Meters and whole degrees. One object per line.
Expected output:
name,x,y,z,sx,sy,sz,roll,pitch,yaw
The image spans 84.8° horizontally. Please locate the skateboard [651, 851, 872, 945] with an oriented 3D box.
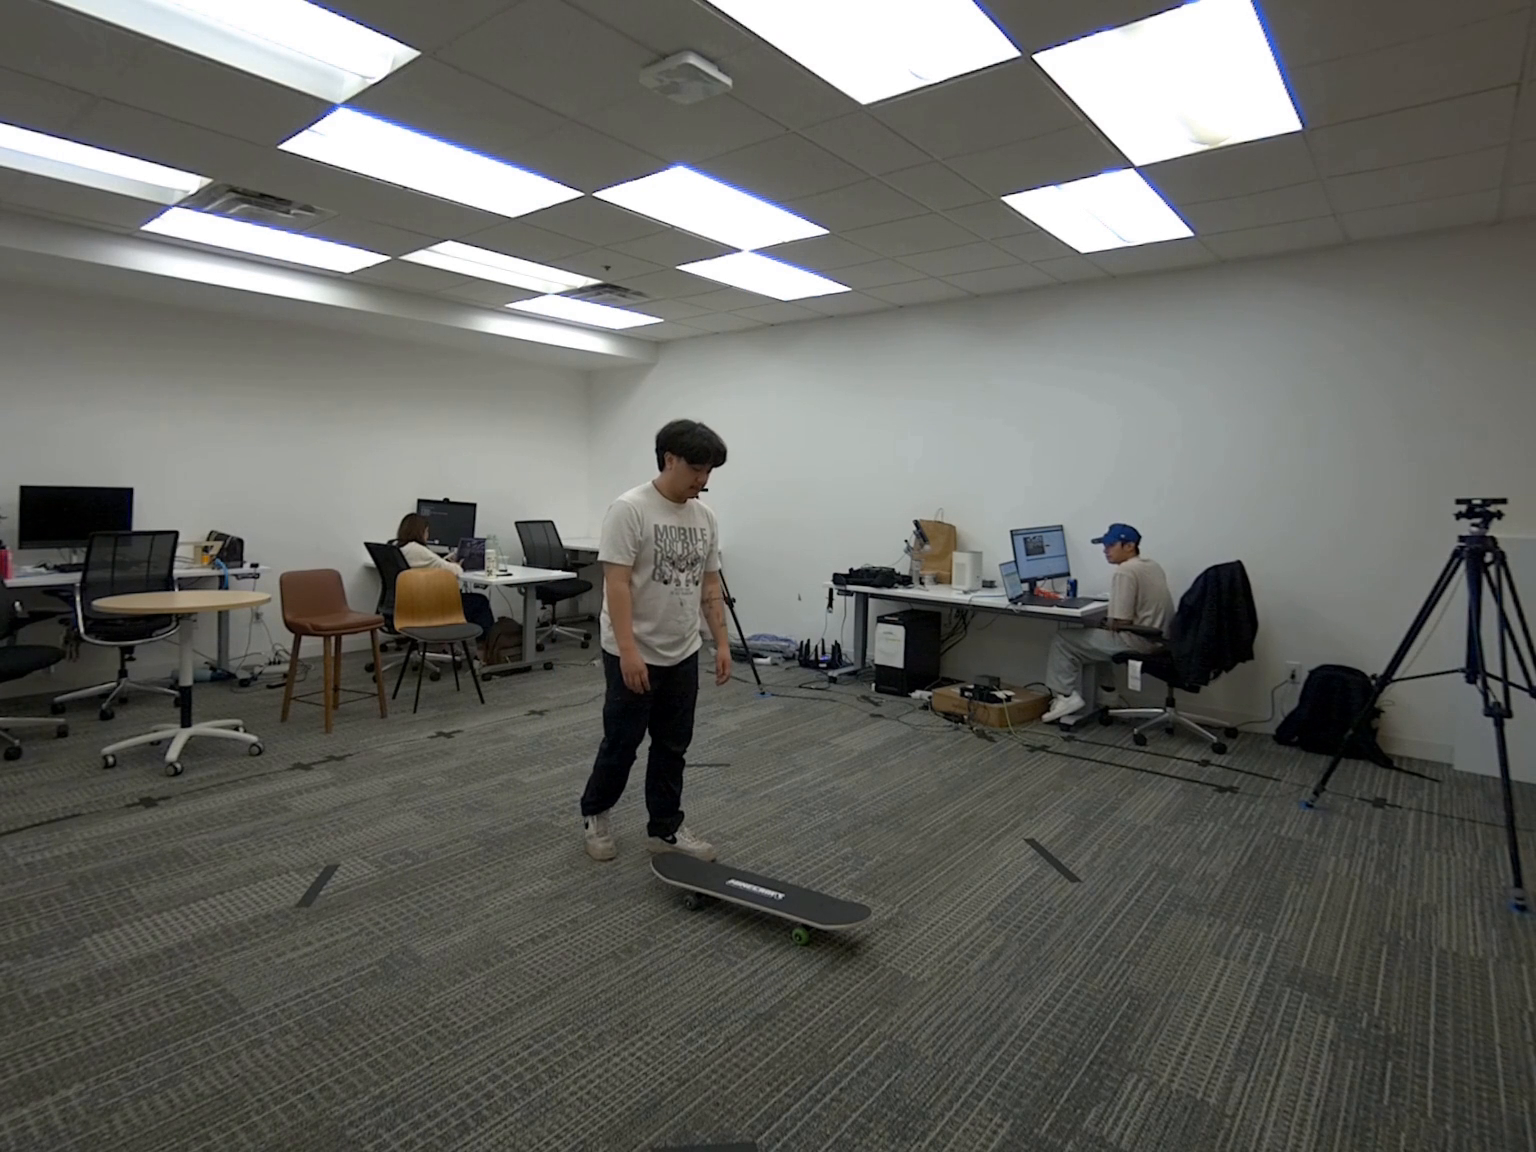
skateboard,-0.050,1.050,2.766,0.808,0.110,0.189,4,5,29
